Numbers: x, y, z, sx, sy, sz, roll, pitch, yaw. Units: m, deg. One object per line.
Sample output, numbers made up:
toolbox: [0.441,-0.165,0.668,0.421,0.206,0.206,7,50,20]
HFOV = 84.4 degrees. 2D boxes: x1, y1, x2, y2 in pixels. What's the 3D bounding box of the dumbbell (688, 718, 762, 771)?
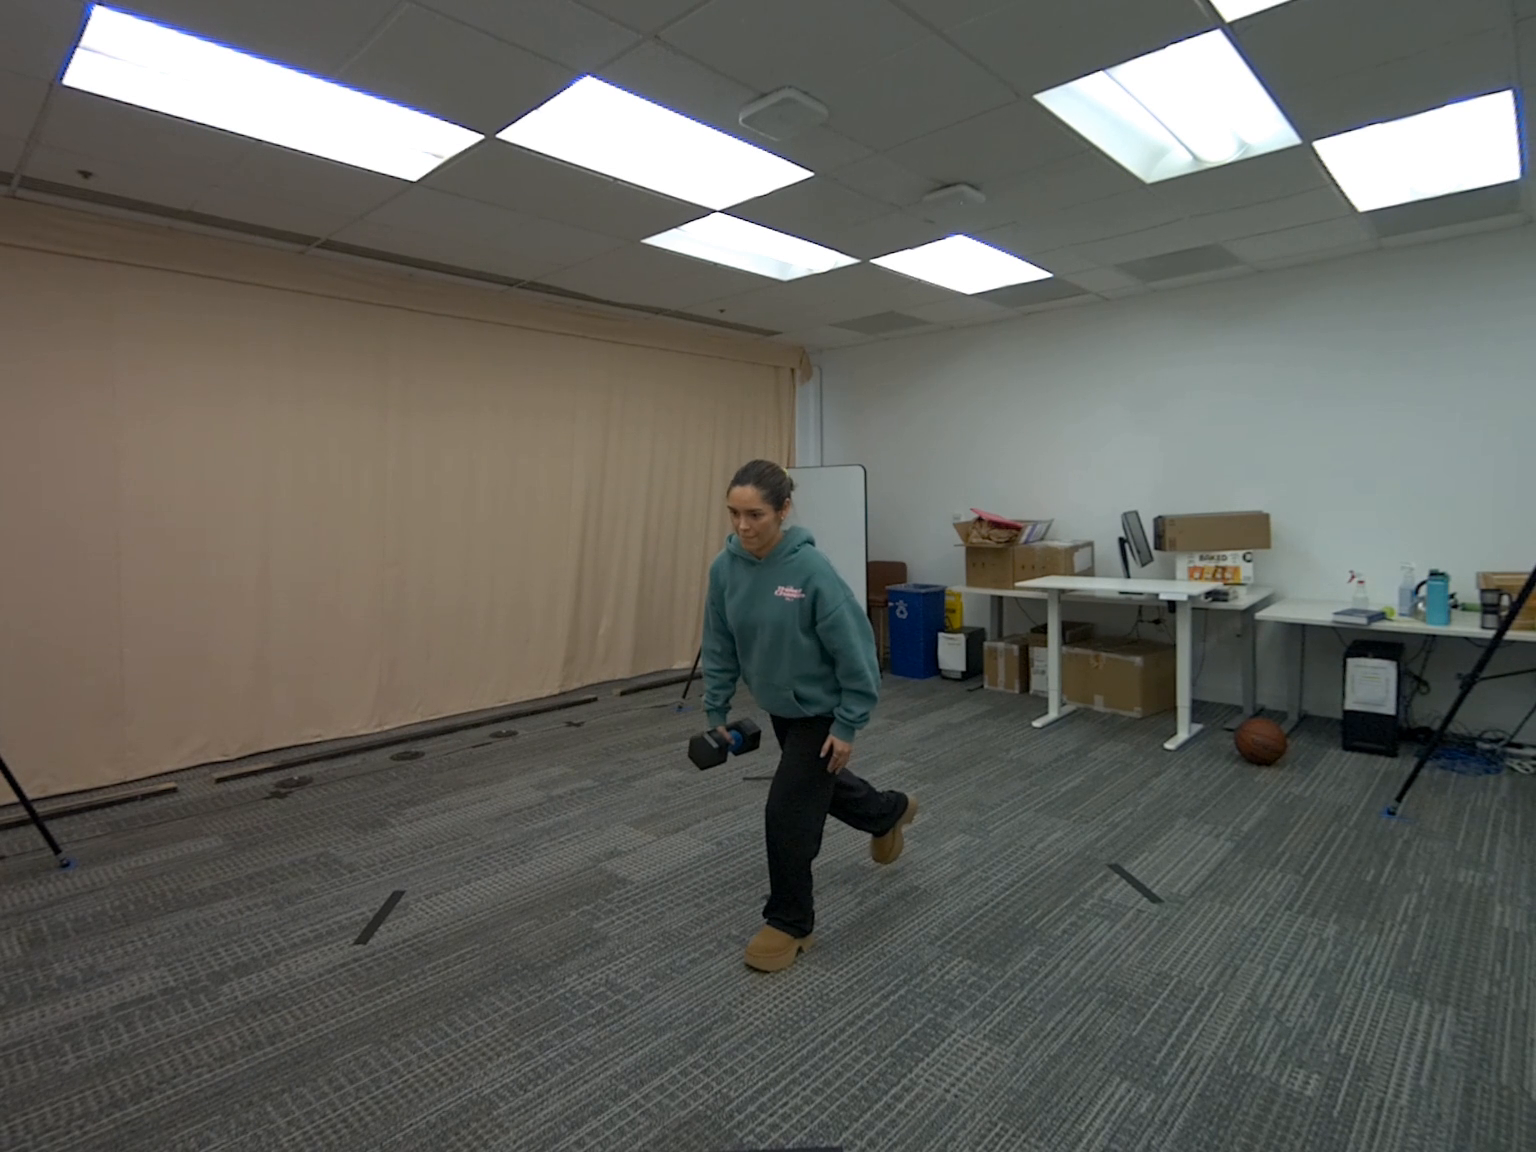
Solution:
dumbbell: [-0.130,0.538,2.666,0.126,0.109,0.285,41,19,23]
